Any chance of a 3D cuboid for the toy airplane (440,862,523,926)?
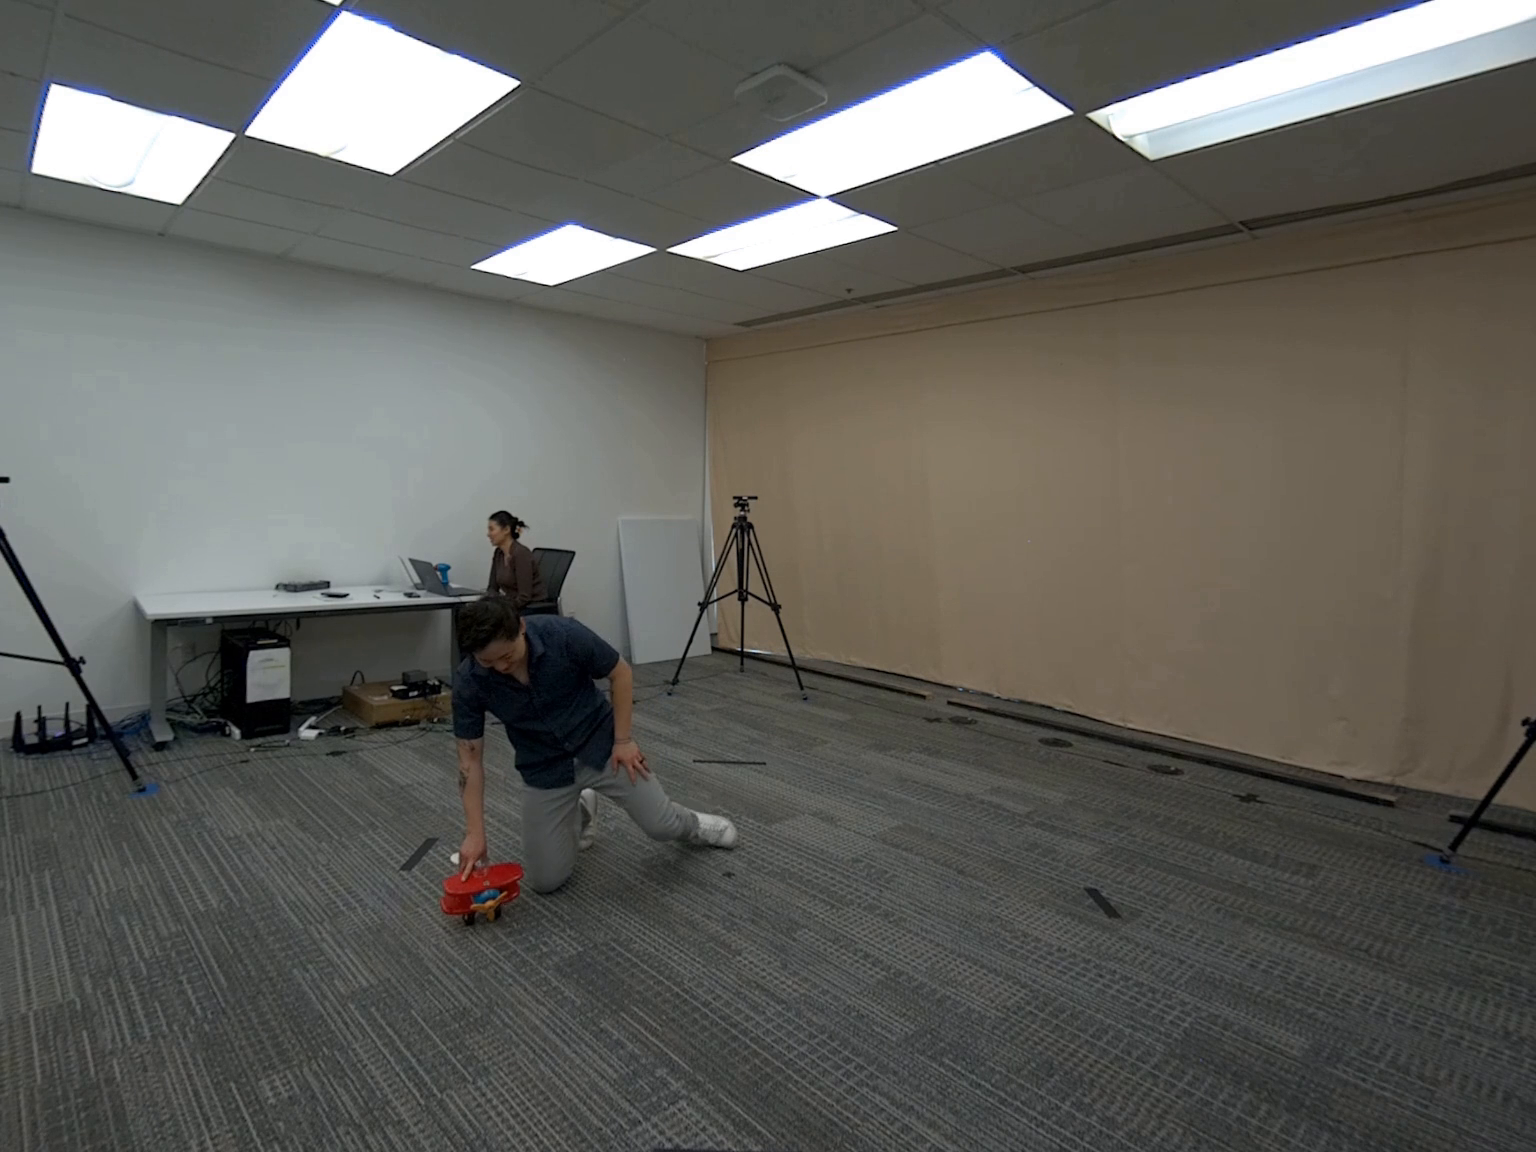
[{"bbox_3d":[-0.967,1.010,2.742,0.264,0.155,0.249,35,34,16],"label":"toy airplane"}]
